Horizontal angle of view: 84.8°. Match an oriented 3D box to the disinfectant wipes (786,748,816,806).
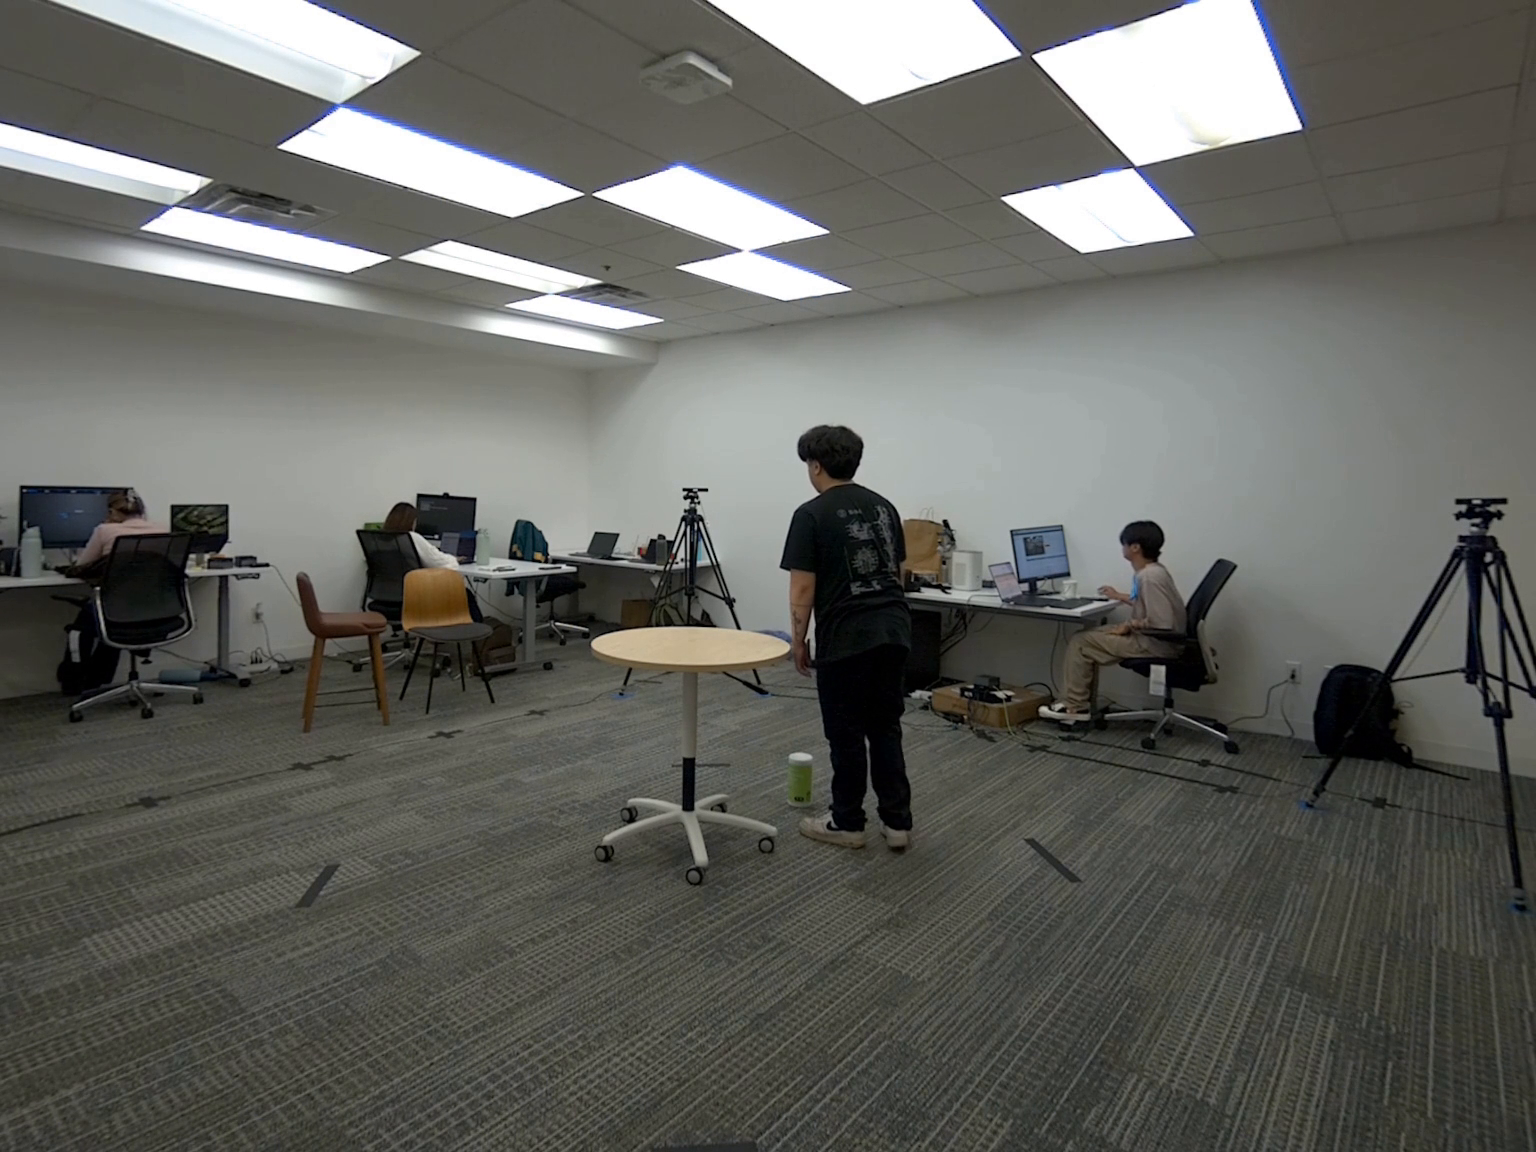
[{"bbox_3d":[0.144,0.899,3.782,0.118,0.217,0.118,-1,4,-2],"label":"disinfectant wipes"}]
